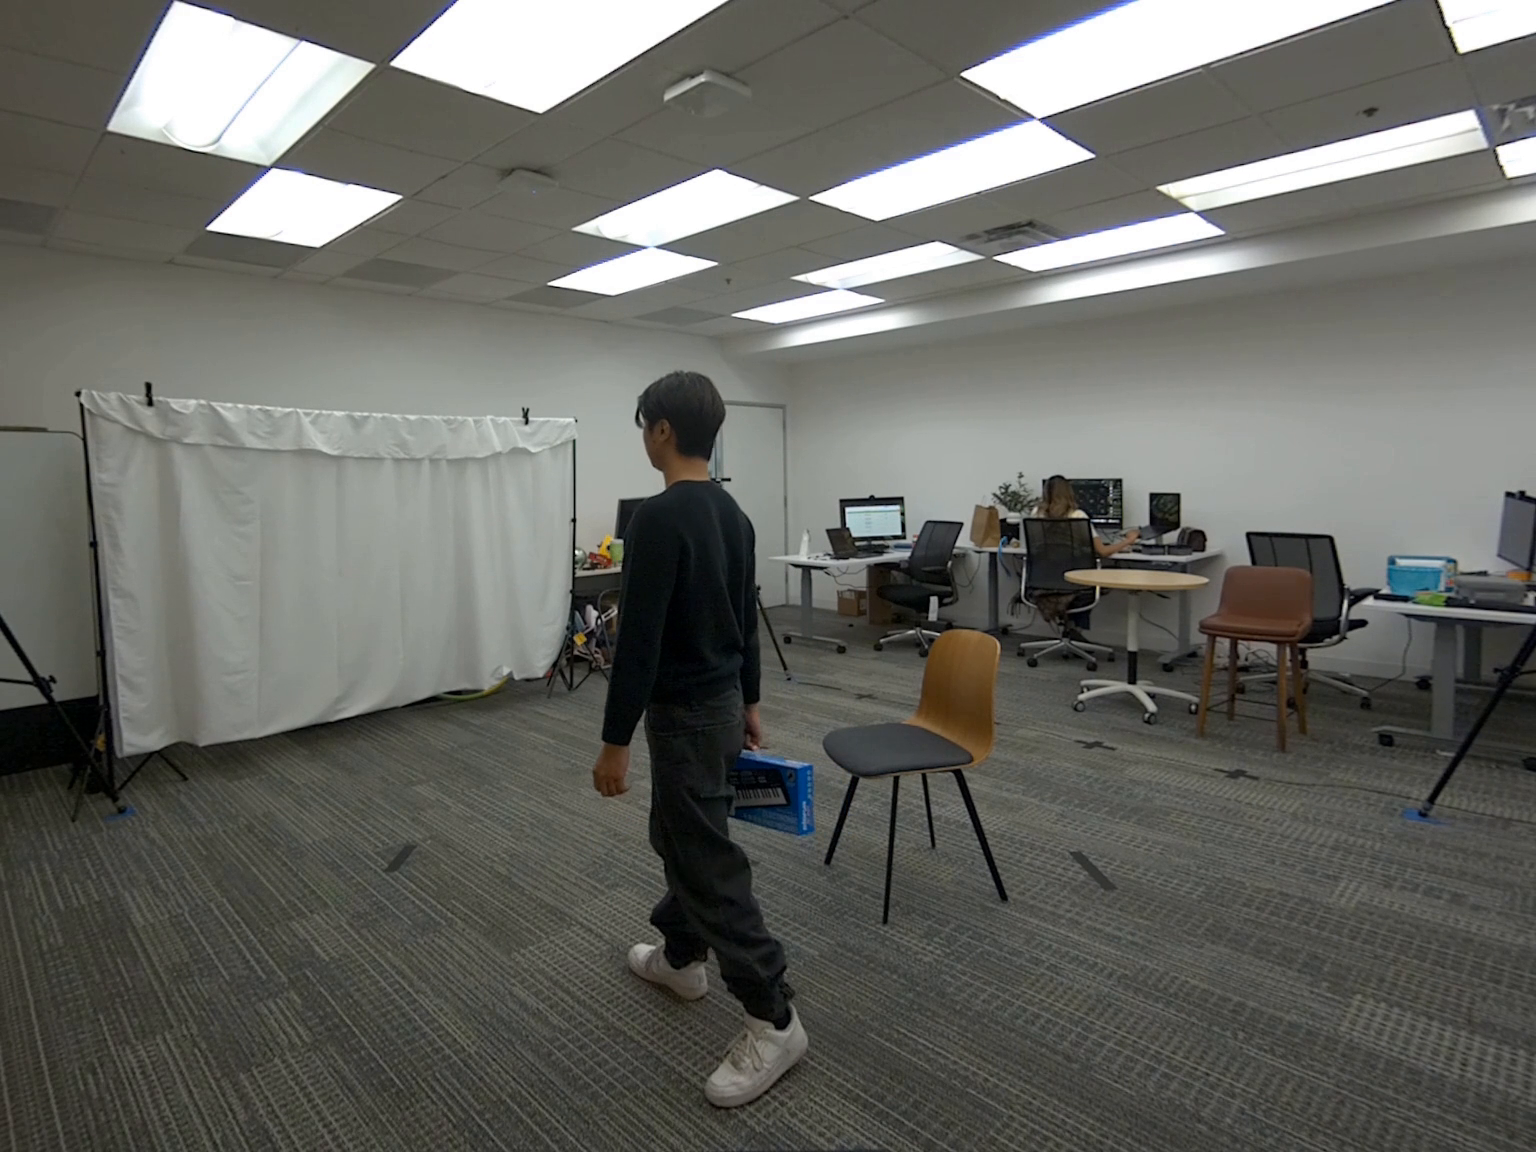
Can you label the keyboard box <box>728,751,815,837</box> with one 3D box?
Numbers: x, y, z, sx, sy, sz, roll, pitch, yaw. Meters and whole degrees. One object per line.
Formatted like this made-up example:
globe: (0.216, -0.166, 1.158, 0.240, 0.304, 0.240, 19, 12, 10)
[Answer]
keyboard box: (-0.055, 0.579, 2.353, 0.057, 0.176, 0.449, 1, -3, -44)
